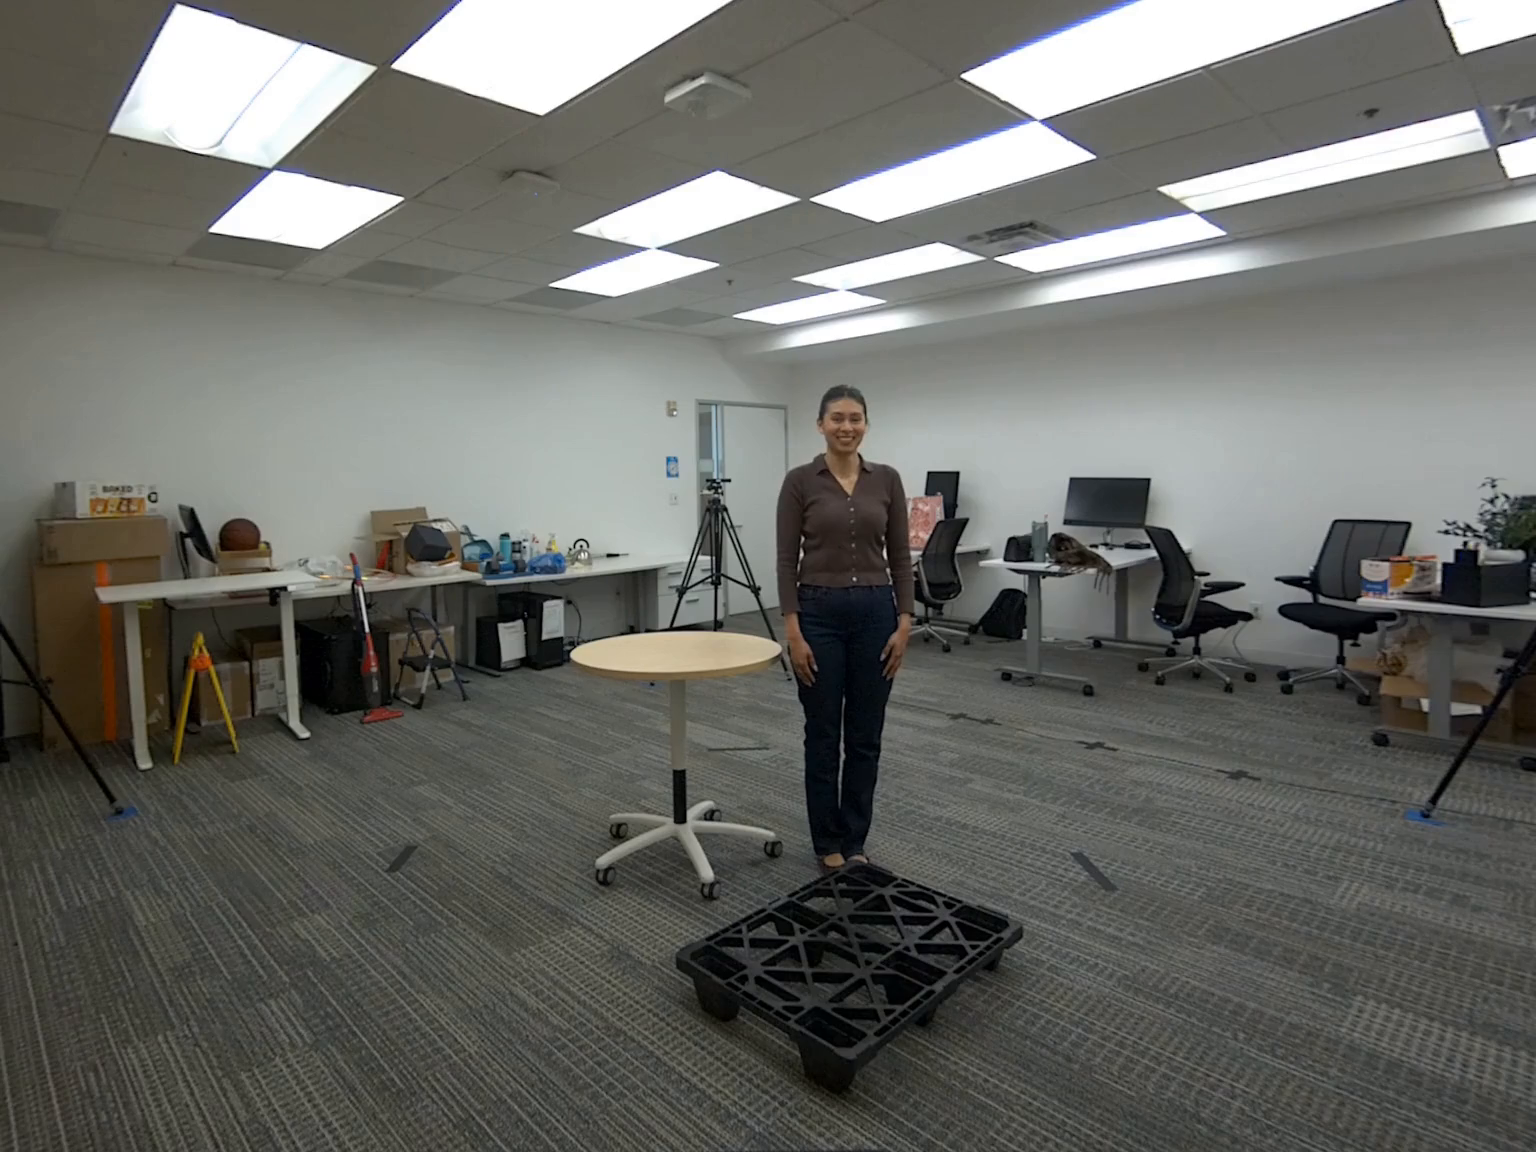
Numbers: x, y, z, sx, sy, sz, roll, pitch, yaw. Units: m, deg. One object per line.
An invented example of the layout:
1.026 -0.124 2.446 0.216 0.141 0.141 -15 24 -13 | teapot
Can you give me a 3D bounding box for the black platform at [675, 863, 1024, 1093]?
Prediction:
0.236 1.063 2.346 0.624 0.142 0.785 5 9 44 | black platform
